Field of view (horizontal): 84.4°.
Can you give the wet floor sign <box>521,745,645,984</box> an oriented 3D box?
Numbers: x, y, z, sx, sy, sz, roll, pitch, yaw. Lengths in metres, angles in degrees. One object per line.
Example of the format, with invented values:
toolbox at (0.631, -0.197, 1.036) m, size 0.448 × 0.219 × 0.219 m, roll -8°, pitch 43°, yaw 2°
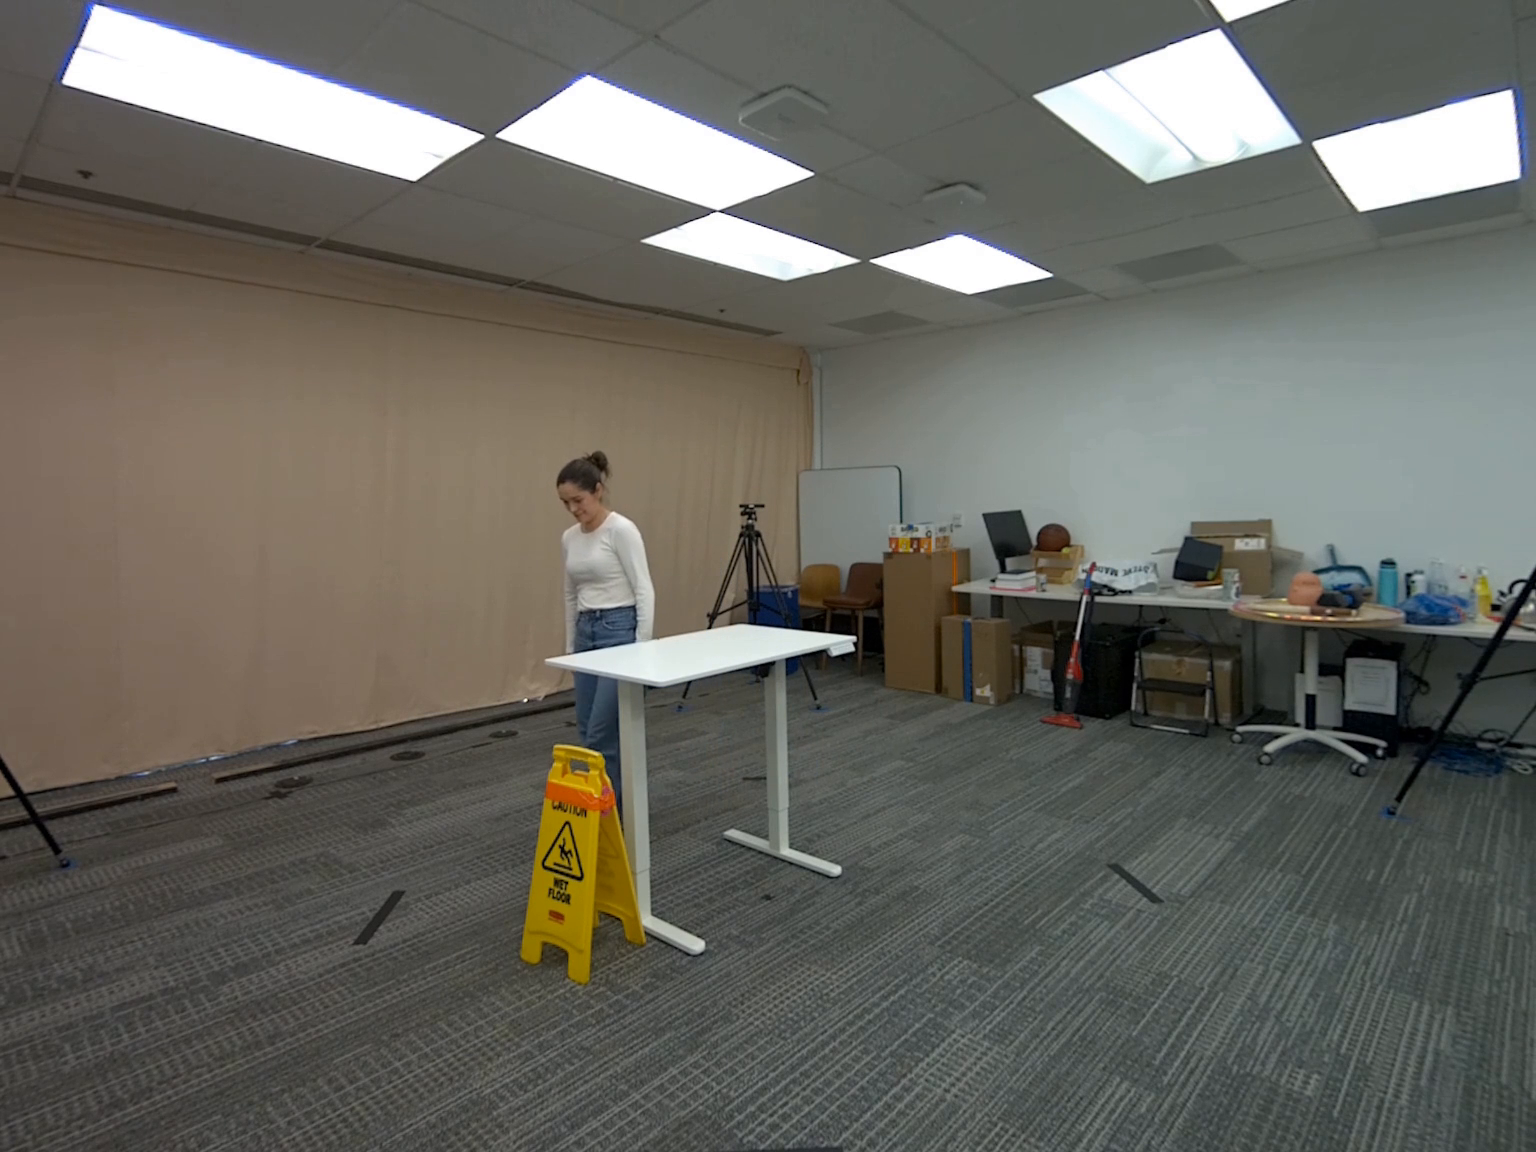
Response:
wet floor sign at (-0.582, 0.858, 2.628) m, size 0.290 × 0.645 × 0.282 m, roll 0°, pitch 2°, yaw 32°
